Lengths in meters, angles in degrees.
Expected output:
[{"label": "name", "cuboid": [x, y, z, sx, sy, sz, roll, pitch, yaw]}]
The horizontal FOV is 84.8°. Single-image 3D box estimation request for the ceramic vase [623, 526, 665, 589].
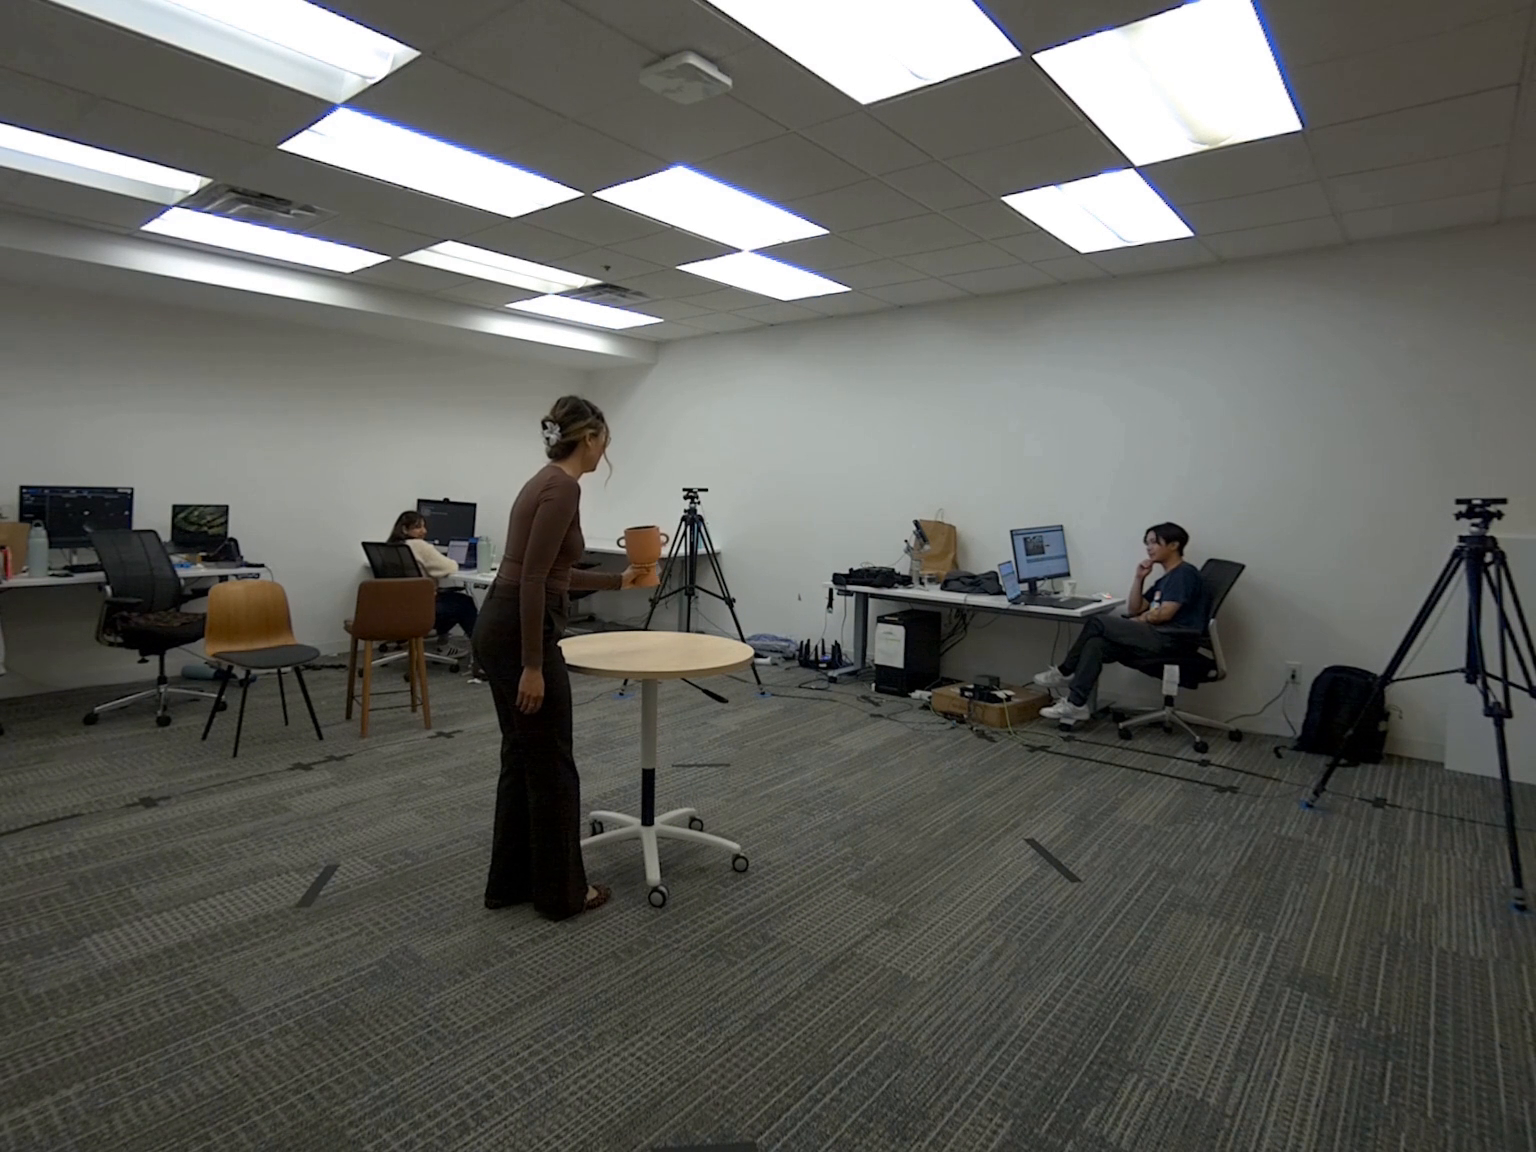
[{"label": "ceramic vase", "cuboid": [-0.483, -0.077, 3.220, 0.164, 0.218, 0.131, 1, 9, 36]}]
